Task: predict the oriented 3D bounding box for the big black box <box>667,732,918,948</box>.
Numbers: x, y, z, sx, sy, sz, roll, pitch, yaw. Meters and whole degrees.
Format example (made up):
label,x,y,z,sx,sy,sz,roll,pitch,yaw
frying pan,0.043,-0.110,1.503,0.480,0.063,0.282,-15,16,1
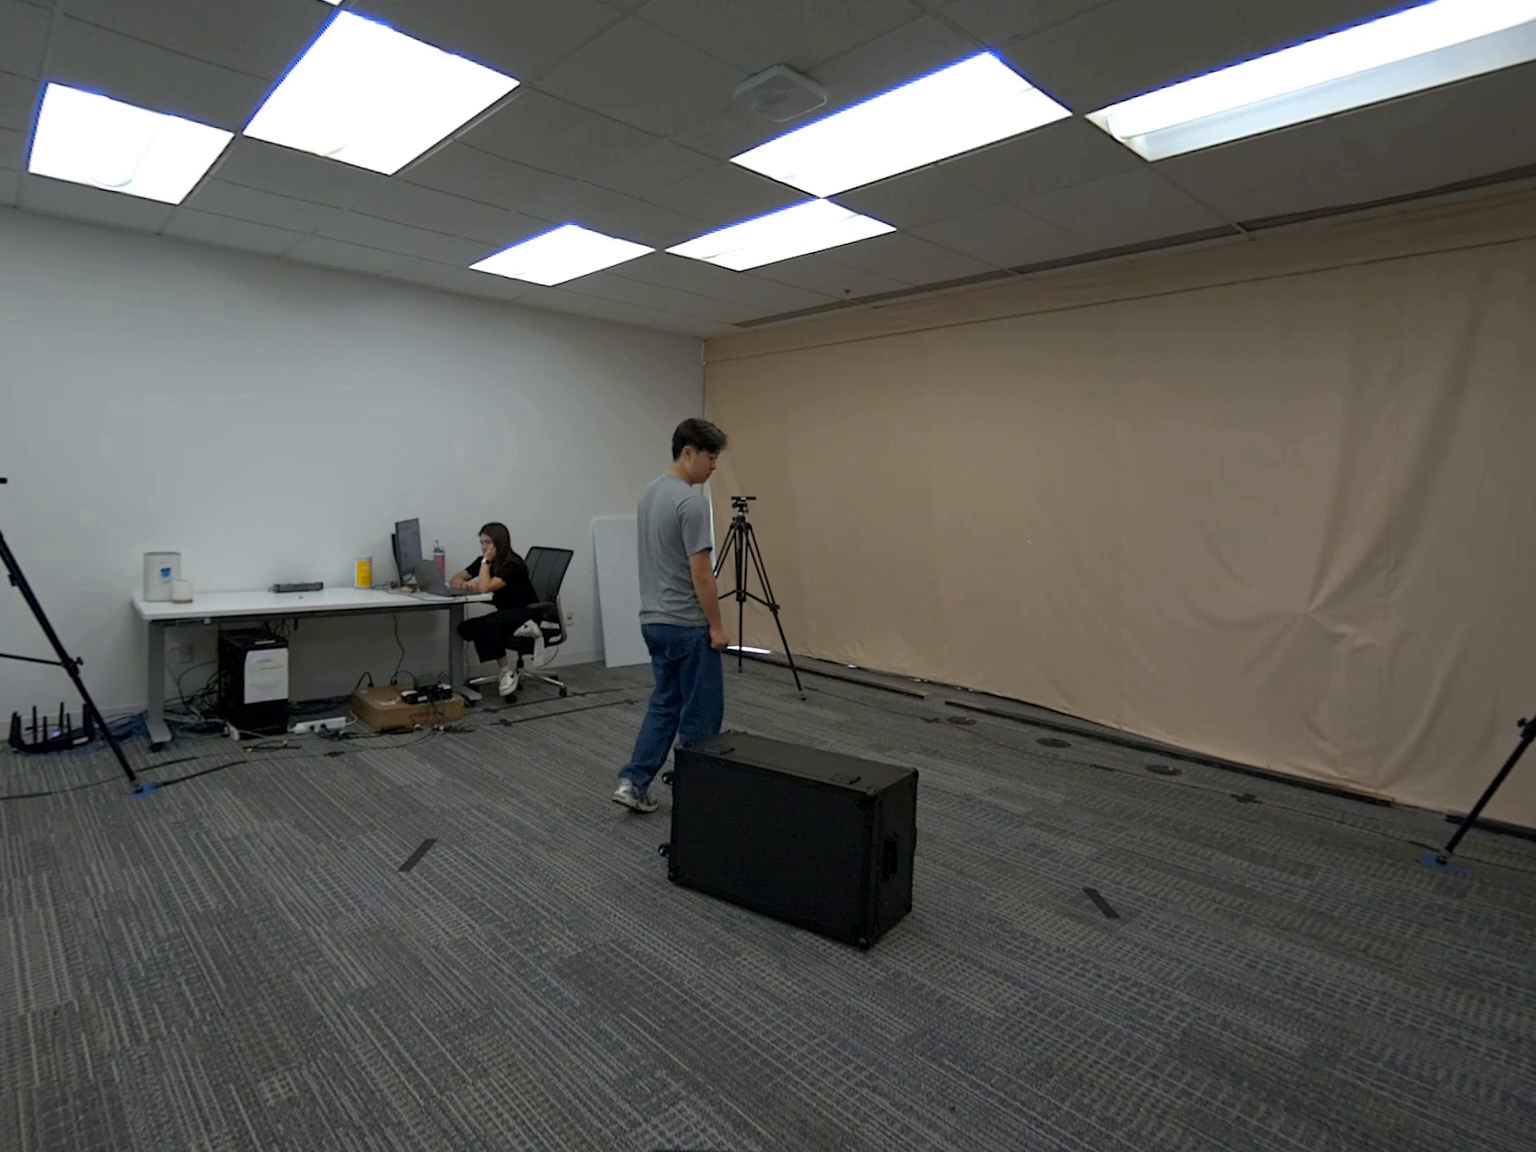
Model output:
label,x,y,z,sx,sy,sz,roll,pitch,yaw
big black box,0.053,0.865,2.963,0.881,0.521,0.387,4,2,33
